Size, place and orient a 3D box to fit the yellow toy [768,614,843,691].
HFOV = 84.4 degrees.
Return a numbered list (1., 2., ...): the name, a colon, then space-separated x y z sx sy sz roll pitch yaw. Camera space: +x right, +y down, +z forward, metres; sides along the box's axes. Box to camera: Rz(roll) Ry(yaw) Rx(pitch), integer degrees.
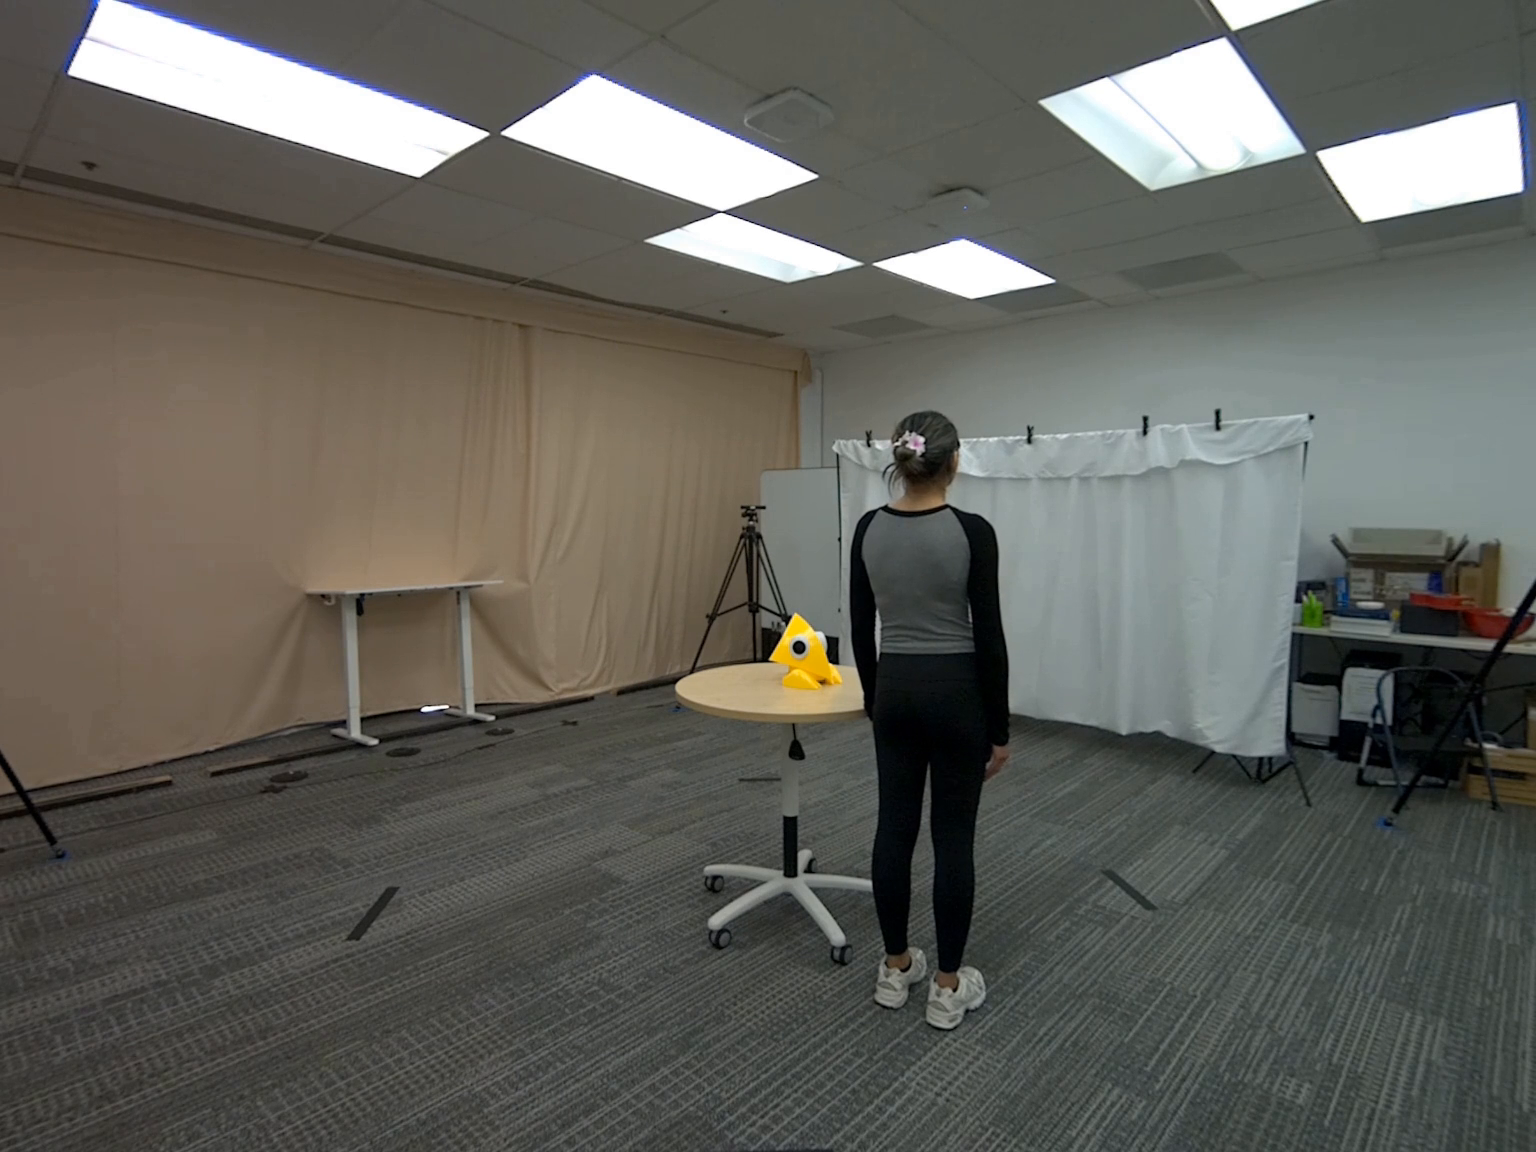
1. yellow toy: 0.143 0.247 2.848 0.198 0.230 0.199 -5 7 -45
